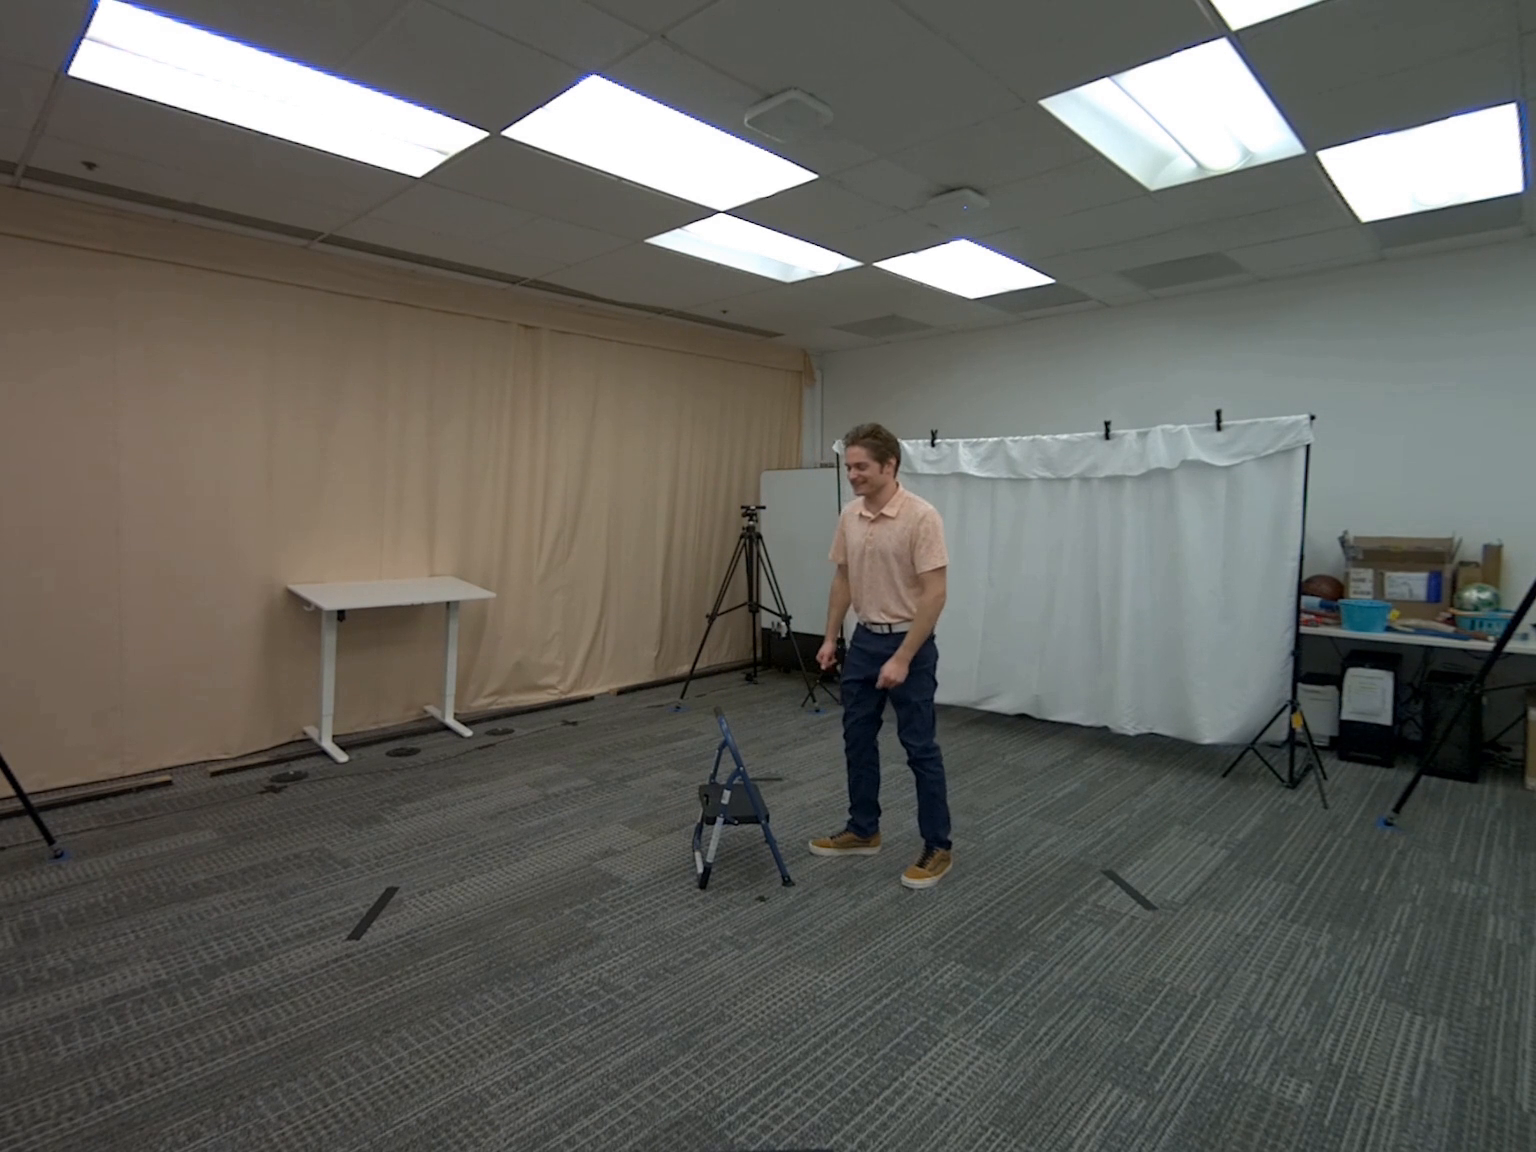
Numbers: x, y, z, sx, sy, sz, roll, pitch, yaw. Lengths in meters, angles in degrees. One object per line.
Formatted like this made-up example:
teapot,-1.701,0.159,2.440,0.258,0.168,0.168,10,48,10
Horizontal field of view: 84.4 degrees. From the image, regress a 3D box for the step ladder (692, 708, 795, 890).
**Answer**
step ladder,-0.111,0.823,3.262,0.346,0.605,0.435,-1,3,-9
